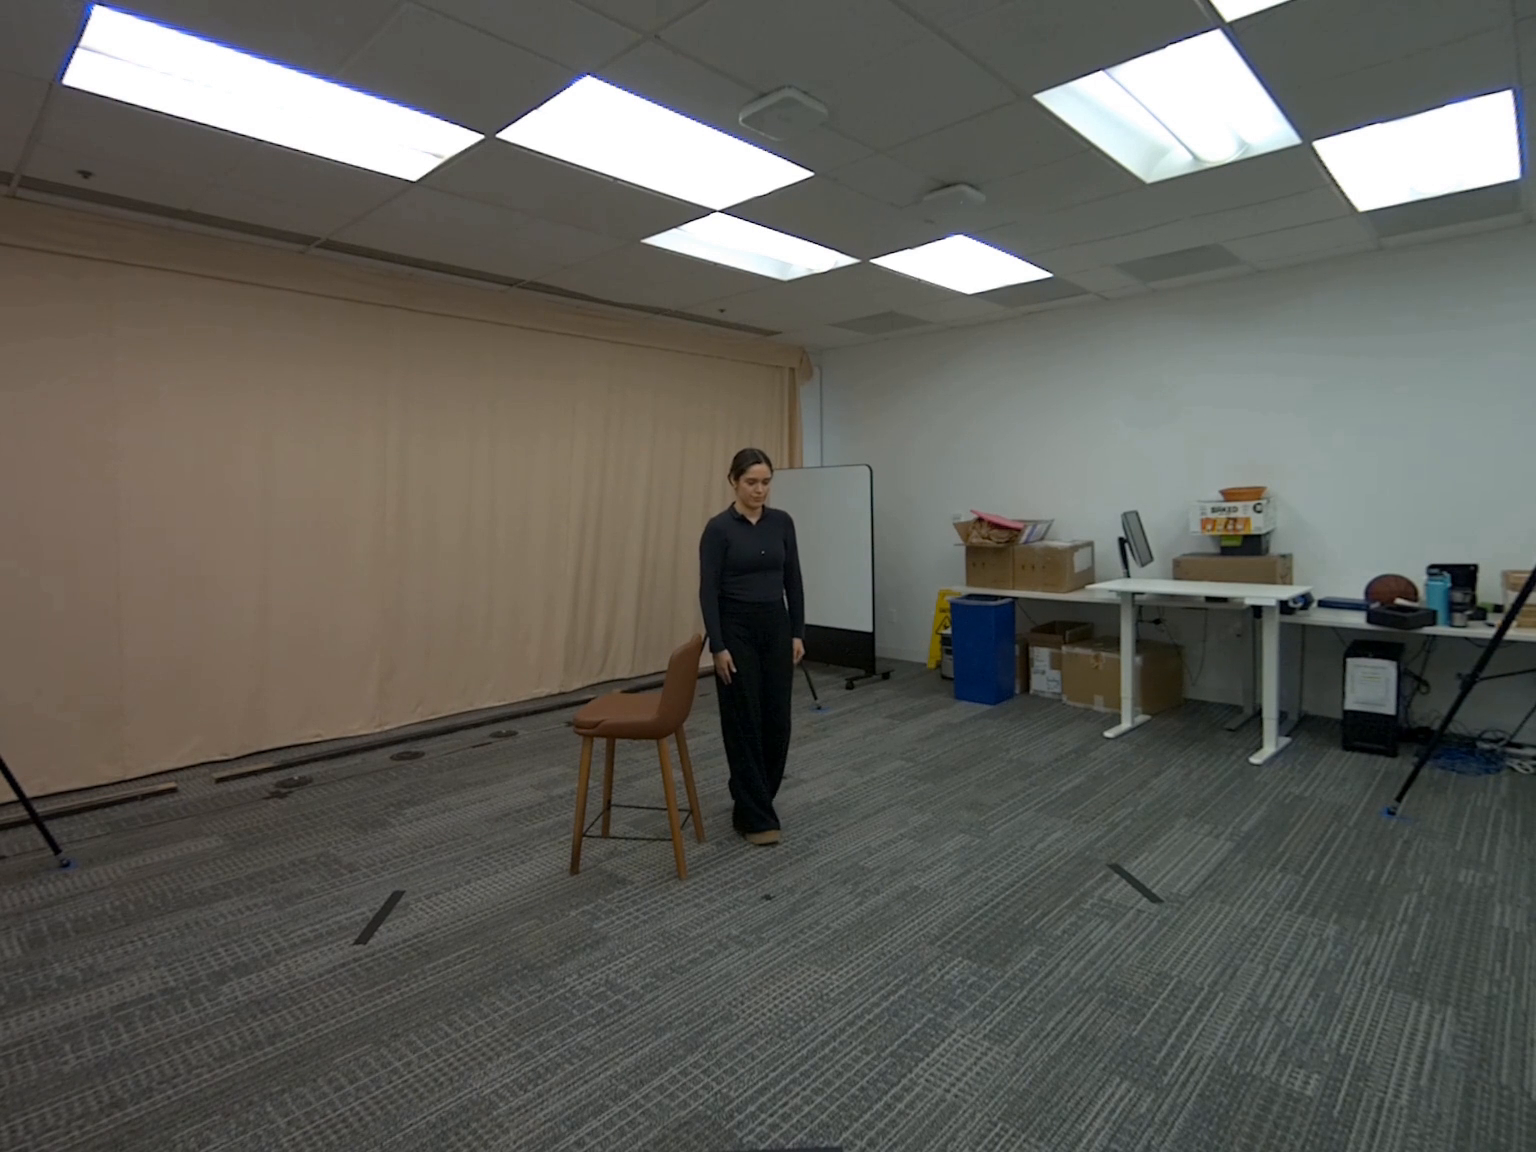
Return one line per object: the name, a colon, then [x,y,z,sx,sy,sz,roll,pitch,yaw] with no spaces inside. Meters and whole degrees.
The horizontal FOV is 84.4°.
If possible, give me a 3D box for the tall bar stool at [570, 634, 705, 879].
tall bar stool: [-0.506,0.687,3.338,0.473,0.888,0.452,1,4,10]
